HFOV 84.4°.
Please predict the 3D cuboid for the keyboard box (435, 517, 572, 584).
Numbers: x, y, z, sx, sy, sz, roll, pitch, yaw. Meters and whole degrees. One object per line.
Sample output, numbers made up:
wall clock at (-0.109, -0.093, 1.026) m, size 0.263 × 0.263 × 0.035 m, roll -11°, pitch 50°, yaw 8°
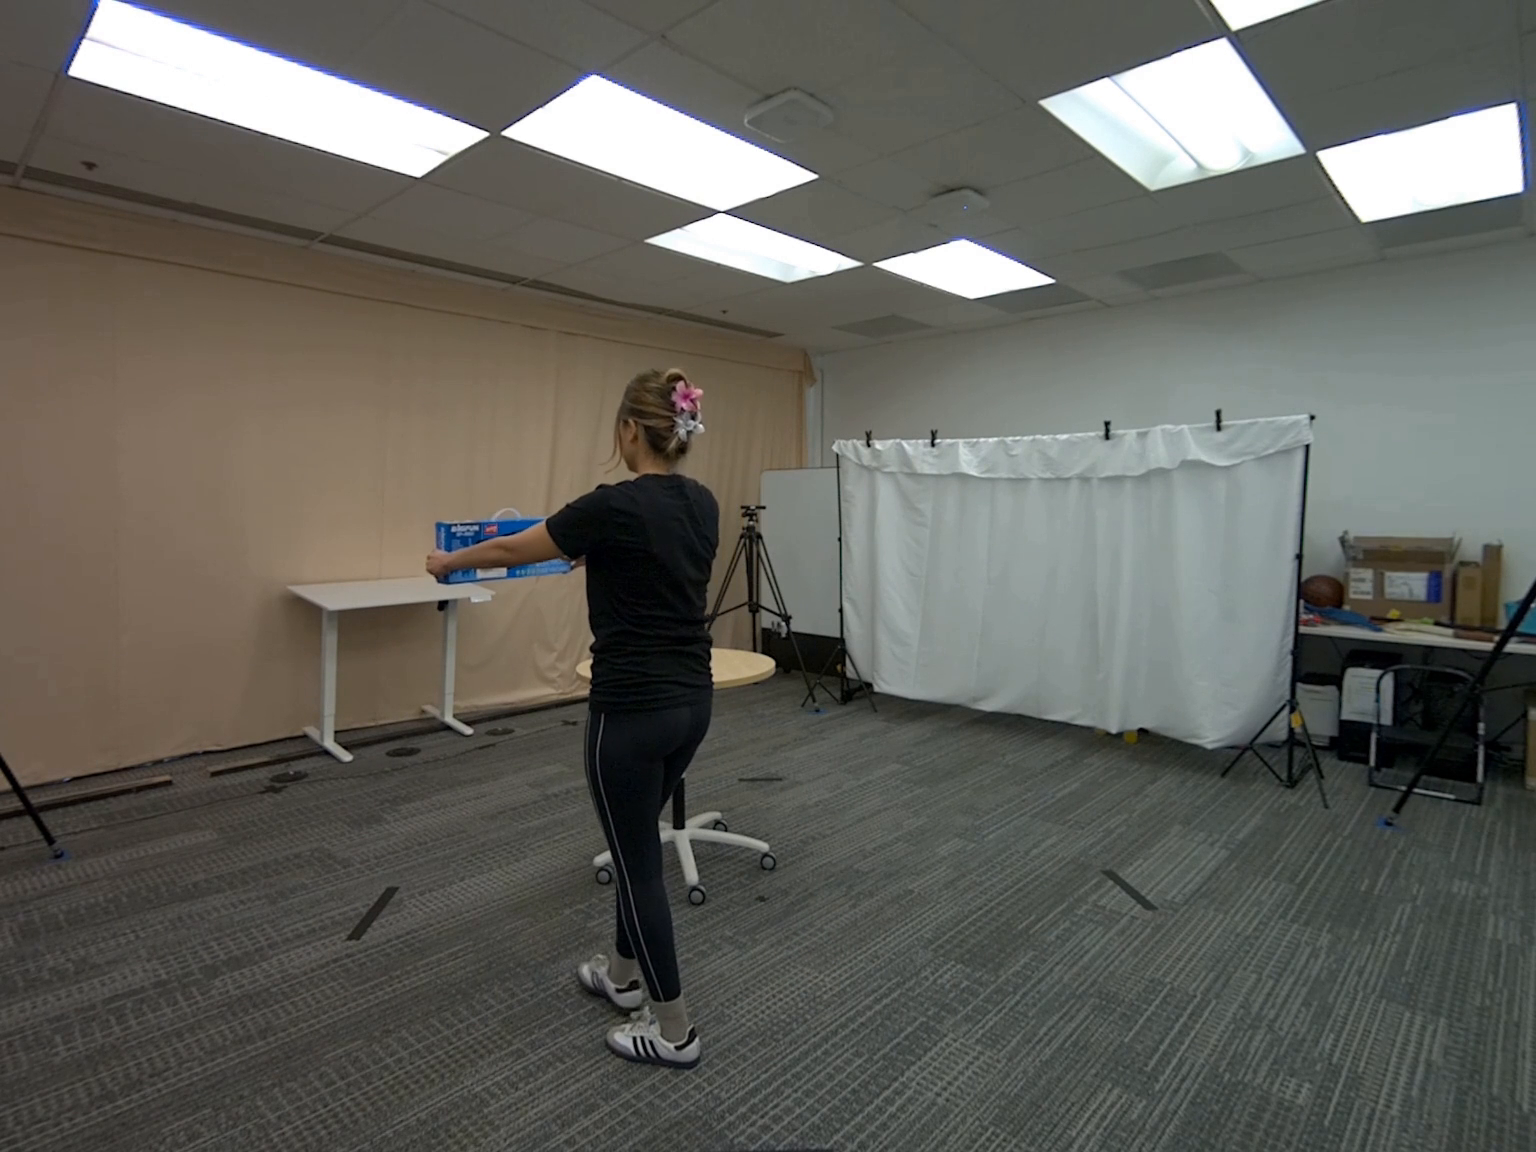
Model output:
keyboard box at (-0.767, -0.079, 2.487) m, size 0.061 × 0.175 × 0.424 m, roll 5°, pitch 8°, yaw 40°
